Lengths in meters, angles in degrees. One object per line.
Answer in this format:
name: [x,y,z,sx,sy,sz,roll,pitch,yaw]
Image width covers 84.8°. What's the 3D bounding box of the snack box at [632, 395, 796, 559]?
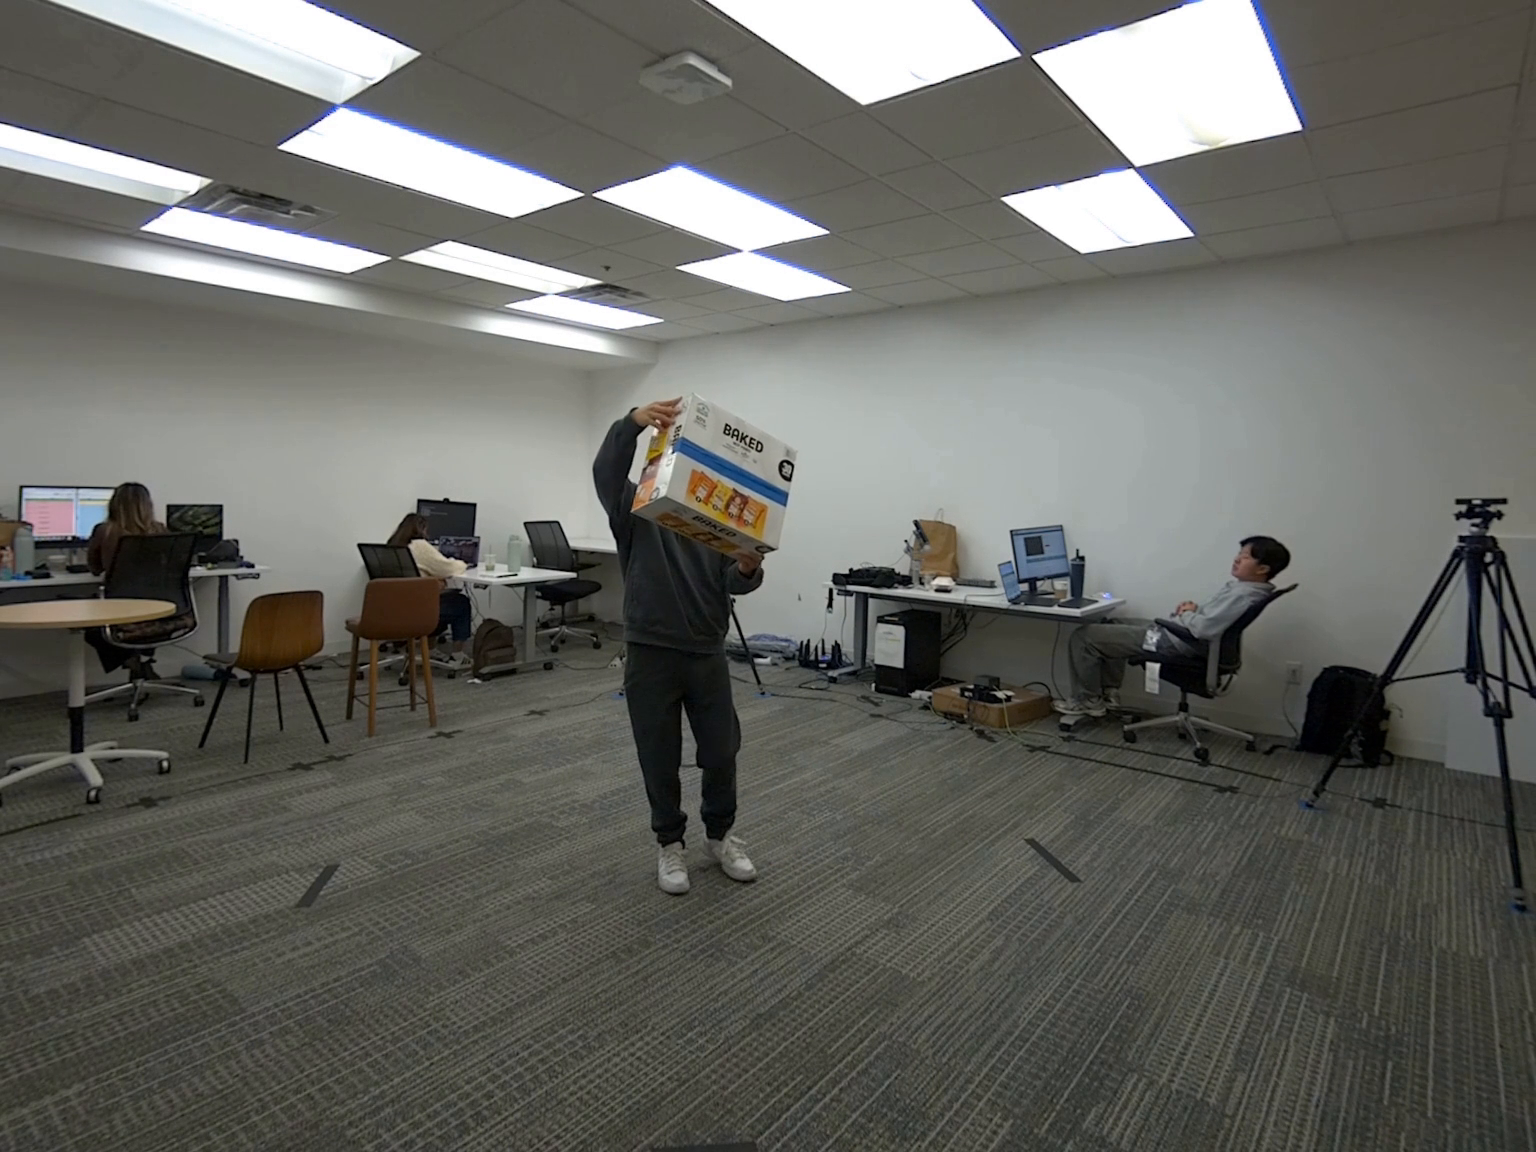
snack box: [-0.161,-0.288,2.569,0.392,0.345,0.210,25,-24,-28]
